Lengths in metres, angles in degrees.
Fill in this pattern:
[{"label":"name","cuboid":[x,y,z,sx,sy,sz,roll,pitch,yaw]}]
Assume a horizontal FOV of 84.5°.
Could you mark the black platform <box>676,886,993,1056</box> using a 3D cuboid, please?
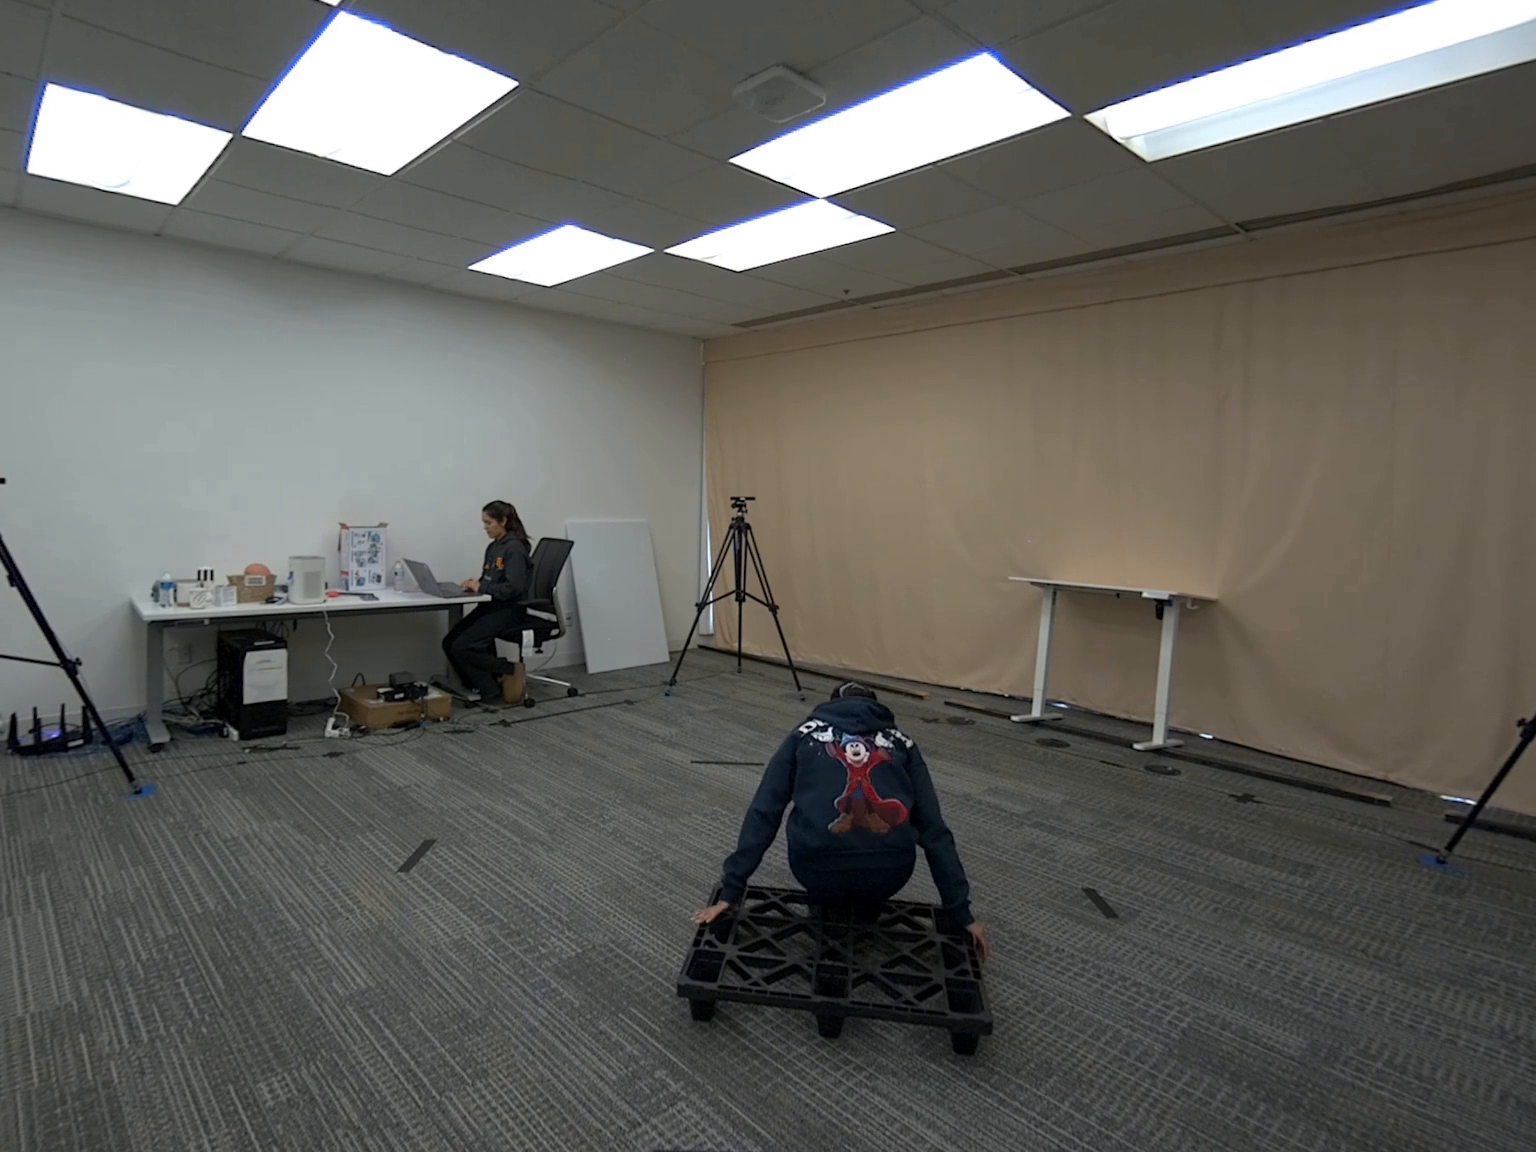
[{"label":"black platform","cuboid":[0.186,1.111,2.406,0.811,0.143,0.603,2,6,8]}]
